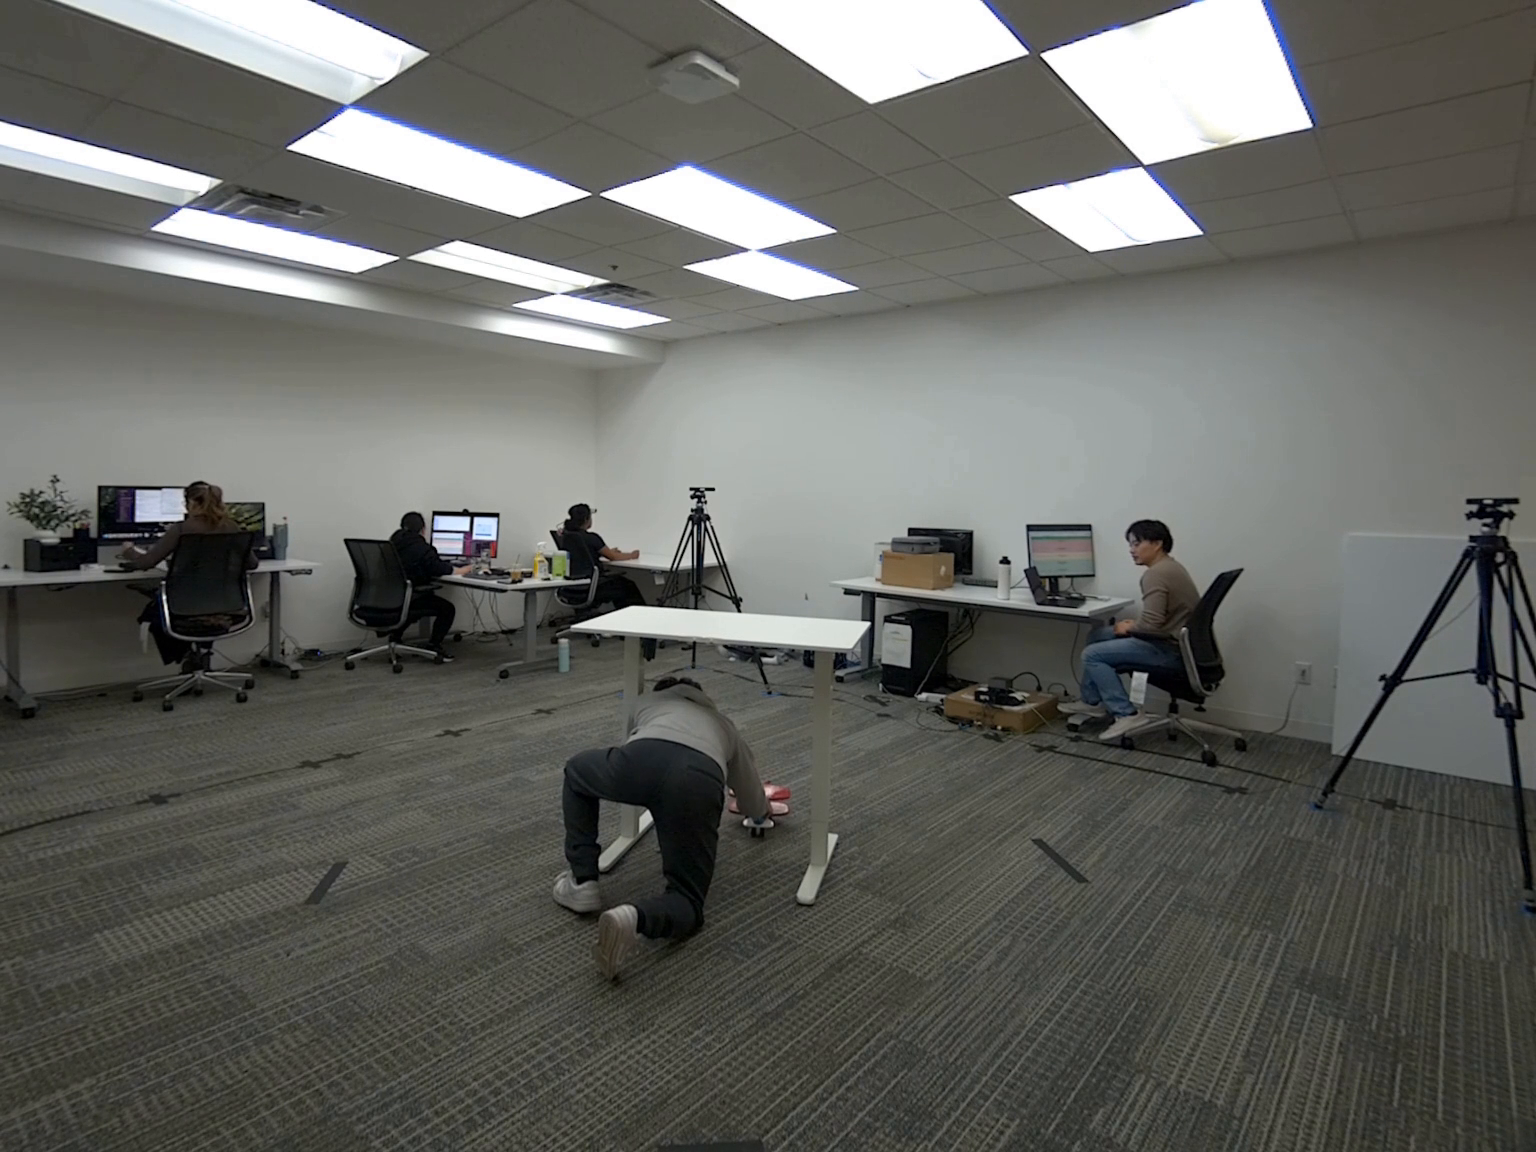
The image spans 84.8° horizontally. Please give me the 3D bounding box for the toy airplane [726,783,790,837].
[{"bbox_3d":[-0.031,0.954,3.503,0.245,0.156,0.266,-2,5,-27],"label":"toy airplane"}]
